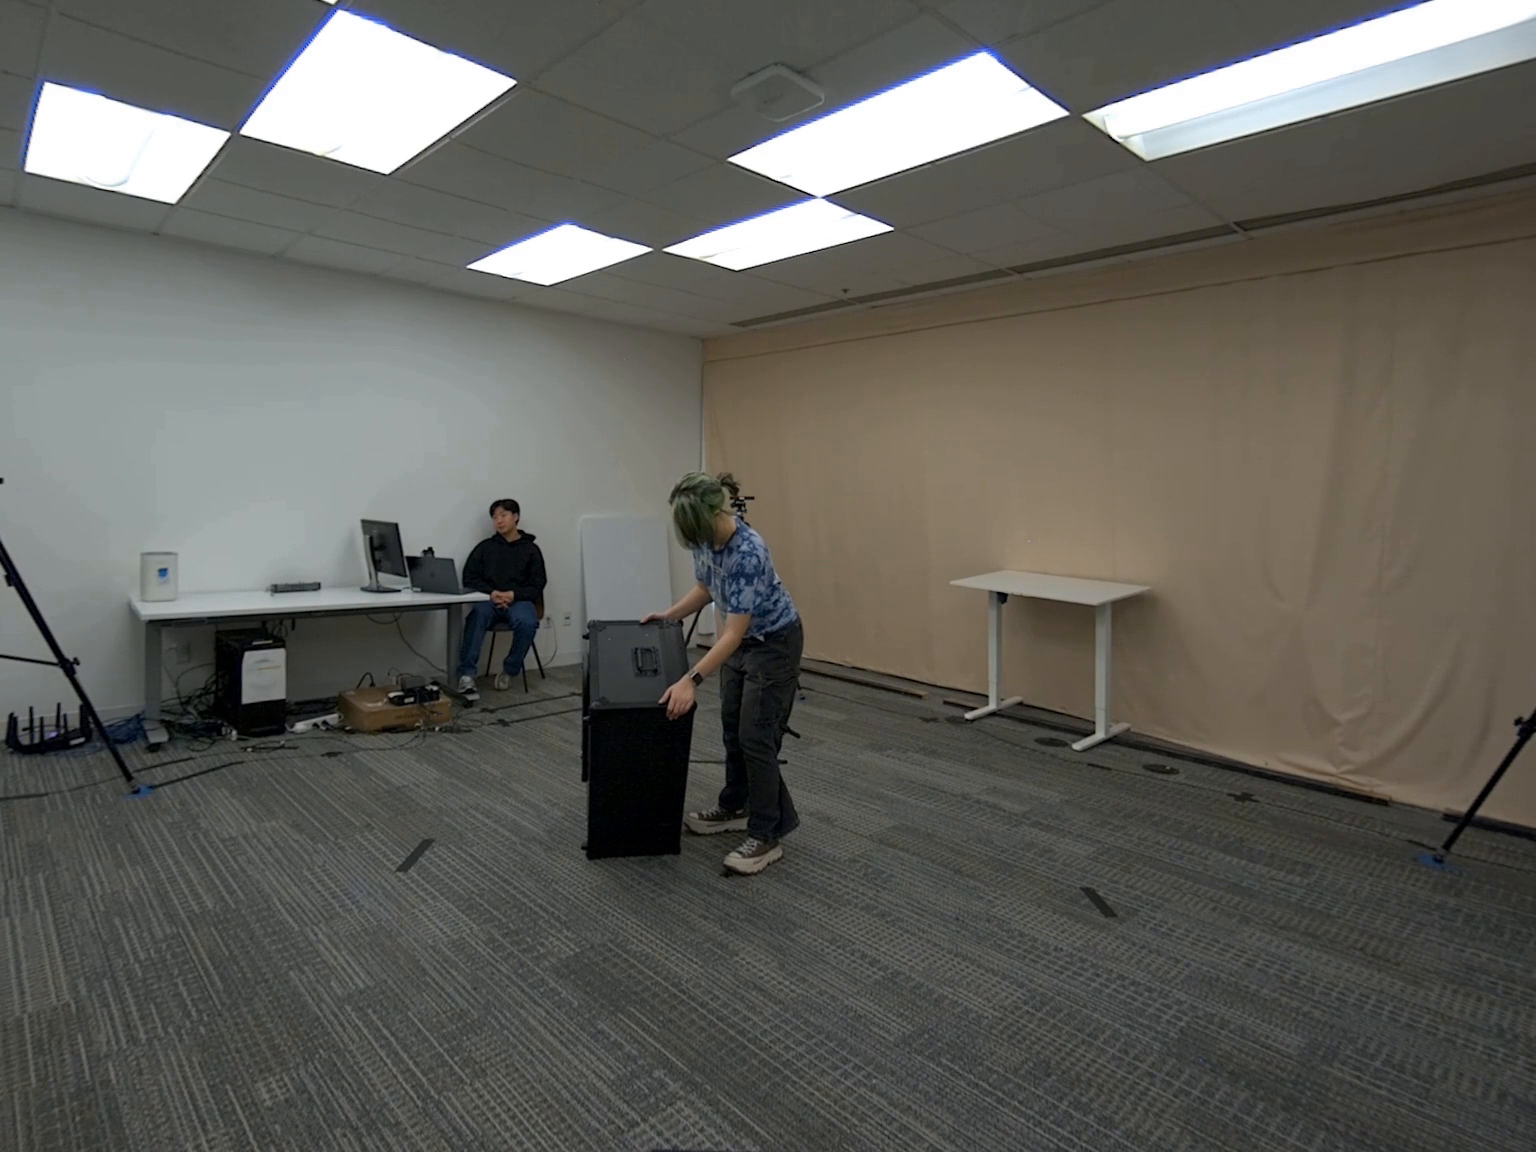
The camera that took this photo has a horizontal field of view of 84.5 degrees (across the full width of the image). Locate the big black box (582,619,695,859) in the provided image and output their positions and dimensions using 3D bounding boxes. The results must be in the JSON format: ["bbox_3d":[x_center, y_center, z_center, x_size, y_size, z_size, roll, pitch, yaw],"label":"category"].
[{"bbox_3d":[-0.534,0.653,3.238,0.393,0.846,0.535,-1,34,-12],"label":"big black box"}]
